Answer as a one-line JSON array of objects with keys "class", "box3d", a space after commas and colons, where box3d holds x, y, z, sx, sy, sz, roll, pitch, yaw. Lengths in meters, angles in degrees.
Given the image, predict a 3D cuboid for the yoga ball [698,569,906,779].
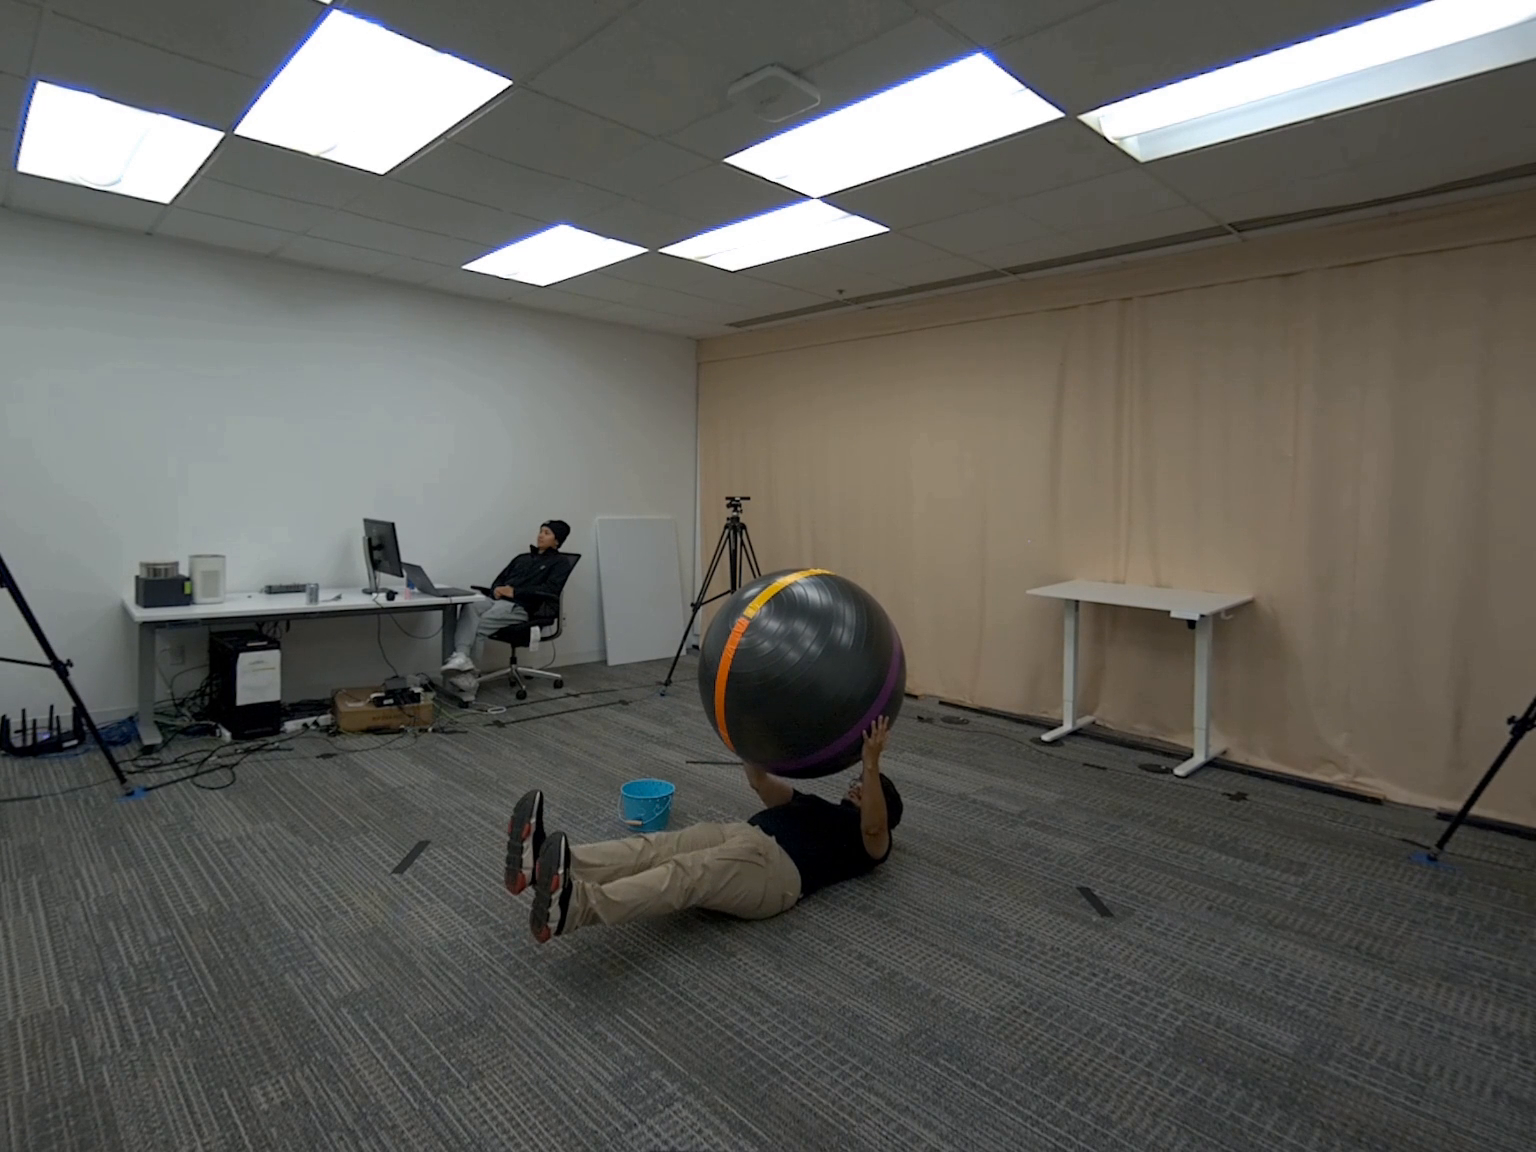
[{"class": "yoga ball", "box3d": [0.118, 0.357, 3.077, 0.757, 0.755, 0.761, 1, 5, -1]}]
